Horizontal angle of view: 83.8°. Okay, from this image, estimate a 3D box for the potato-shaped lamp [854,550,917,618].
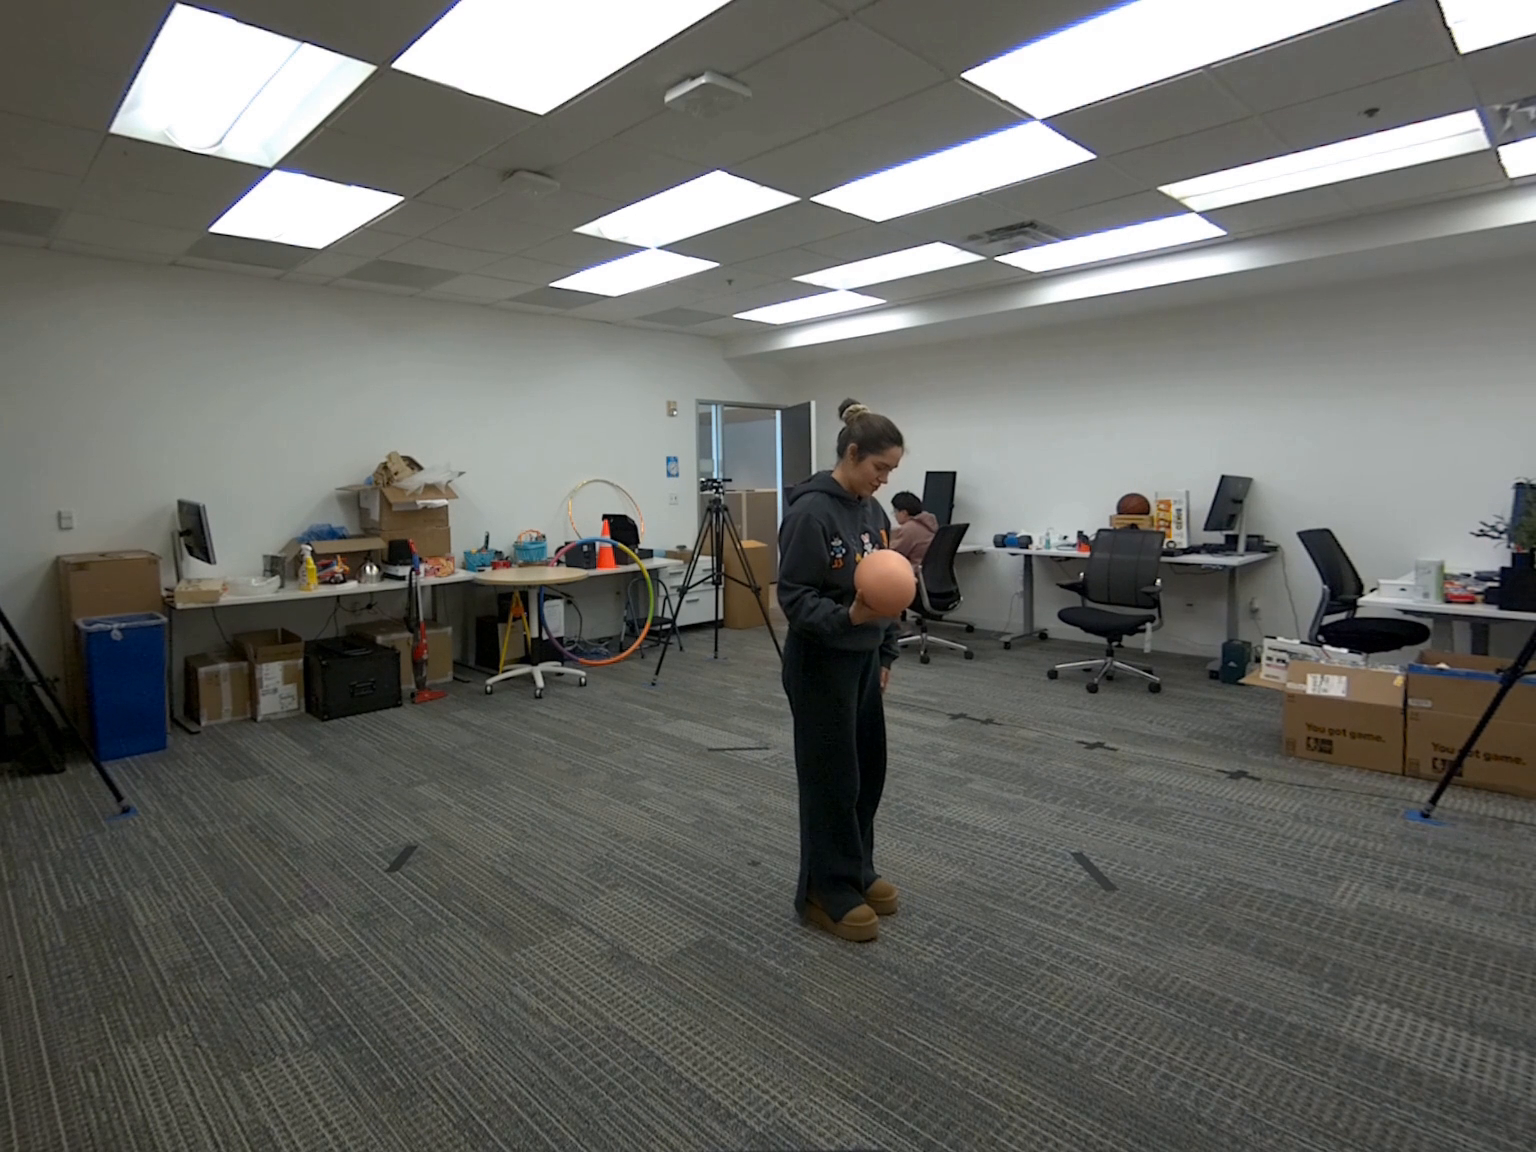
[{"bbox_3d":[0.340,0.027,2.367,0.167,0.165,0.203,41,15,-22],"label":"potato-shaped lamp"}]
